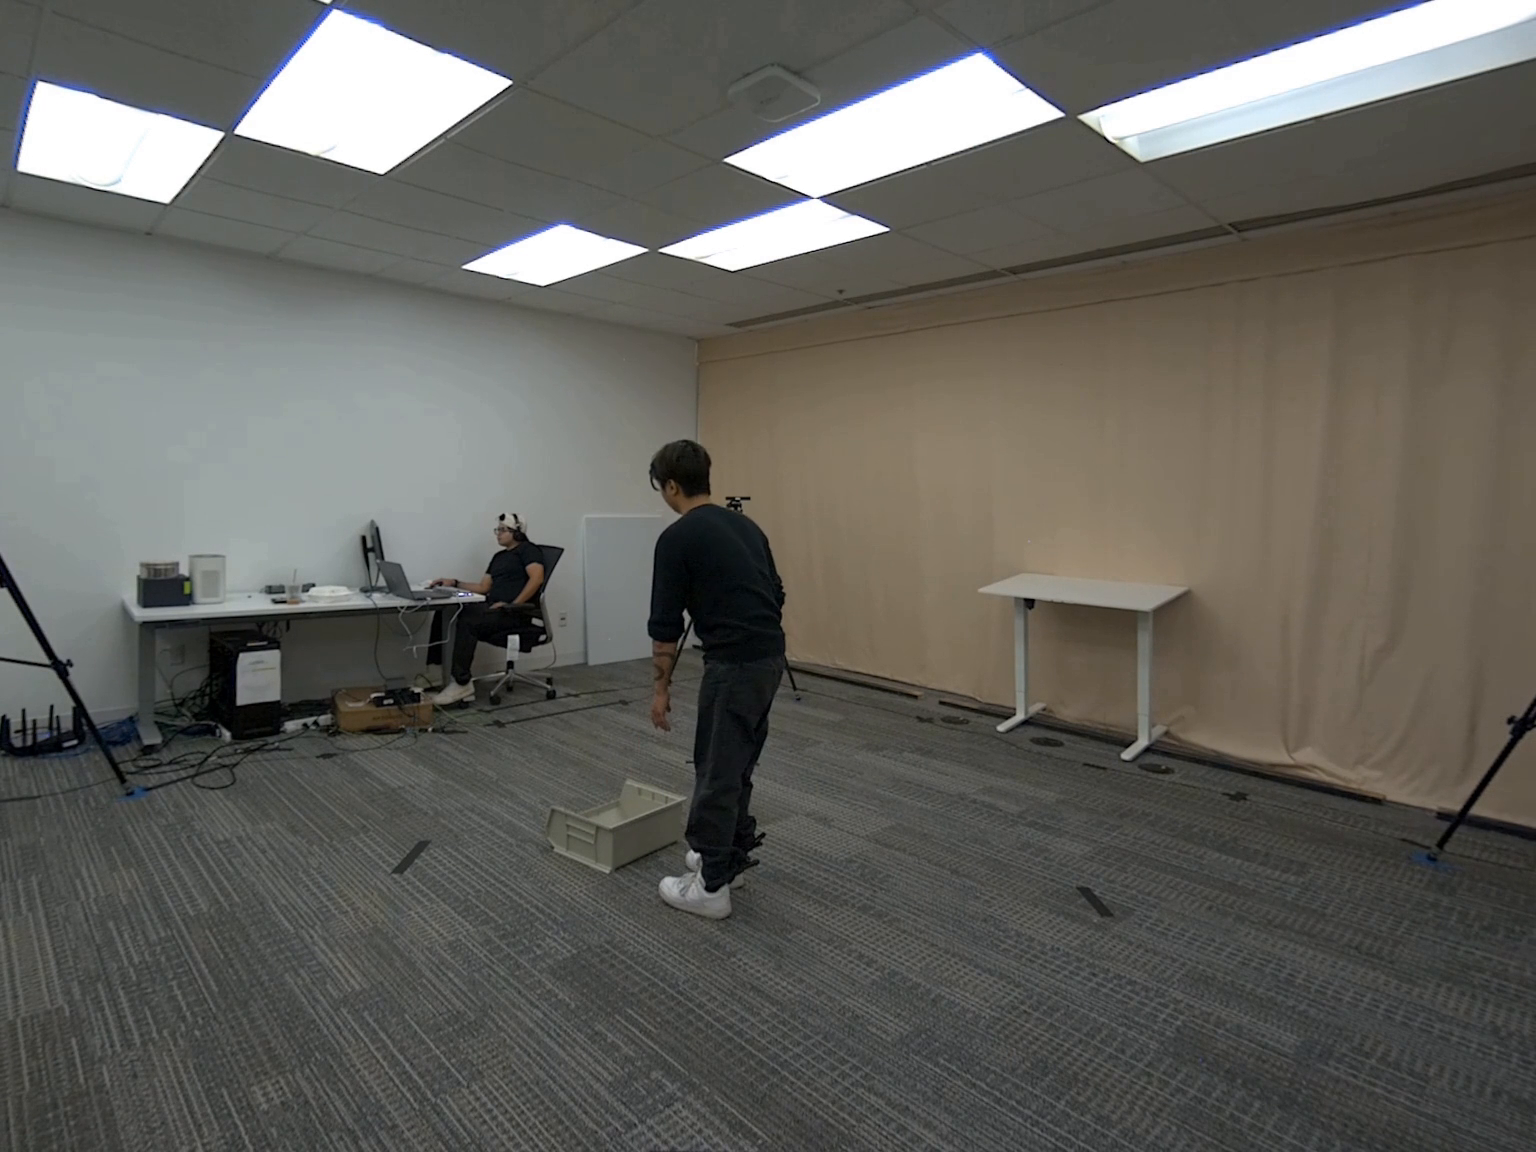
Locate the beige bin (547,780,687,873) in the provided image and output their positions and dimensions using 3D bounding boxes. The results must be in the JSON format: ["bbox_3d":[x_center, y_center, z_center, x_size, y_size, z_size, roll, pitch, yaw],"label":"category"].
[{"bbox_3d":[-0.614,0.986,3.361,0.387,0.188,0.413,6,6,37],"label":"beige bin"}]
